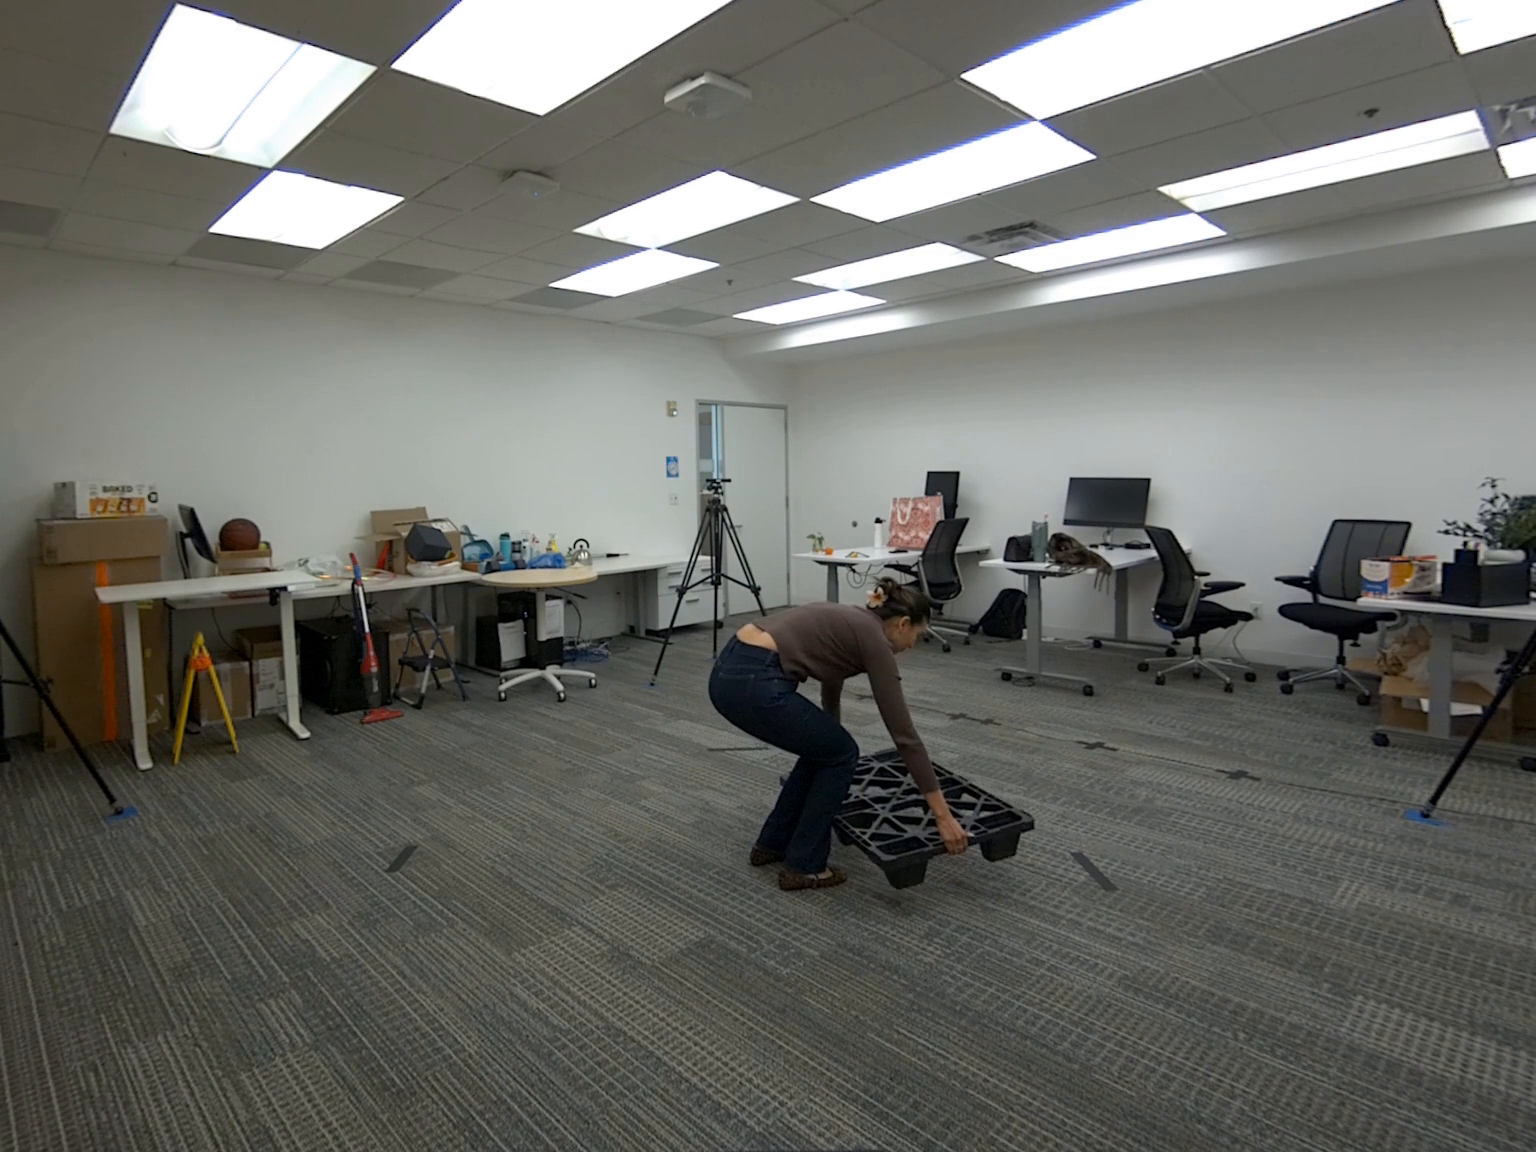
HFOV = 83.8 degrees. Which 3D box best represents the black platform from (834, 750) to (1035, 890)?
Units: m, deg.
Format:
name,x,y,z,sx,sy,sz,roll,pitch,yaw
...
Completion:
name,x,y,z,sx,sy,sz,roll,pitch,yaw
black platform,0.485,0.872,3.156,0.595,0.142,0.826,-8,10,-22
